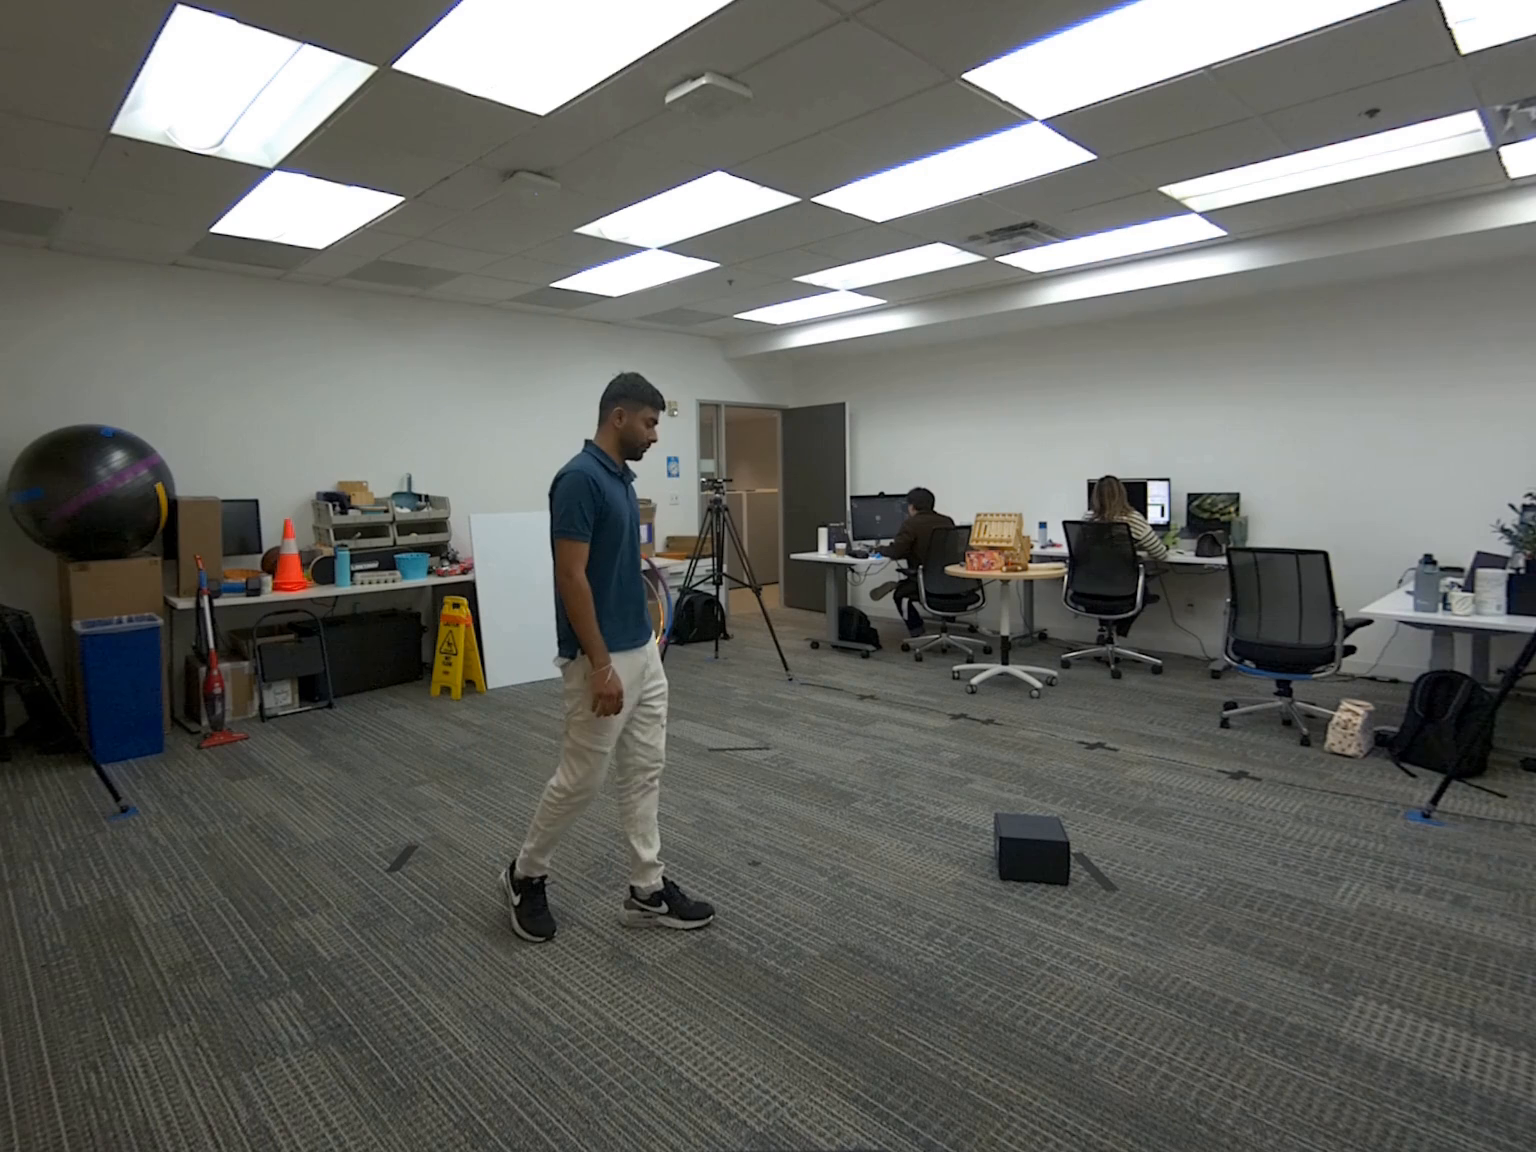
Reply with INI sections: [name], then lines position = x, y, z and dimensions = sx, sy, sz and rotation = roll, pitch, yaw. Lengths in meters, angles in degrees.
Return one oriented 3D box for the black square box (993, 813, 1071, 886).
[black square box]
position = 0.931, 0.955, 3.015
dimensions = 0.230, 0.155, 0.215
rotation = 0, 5, 11
